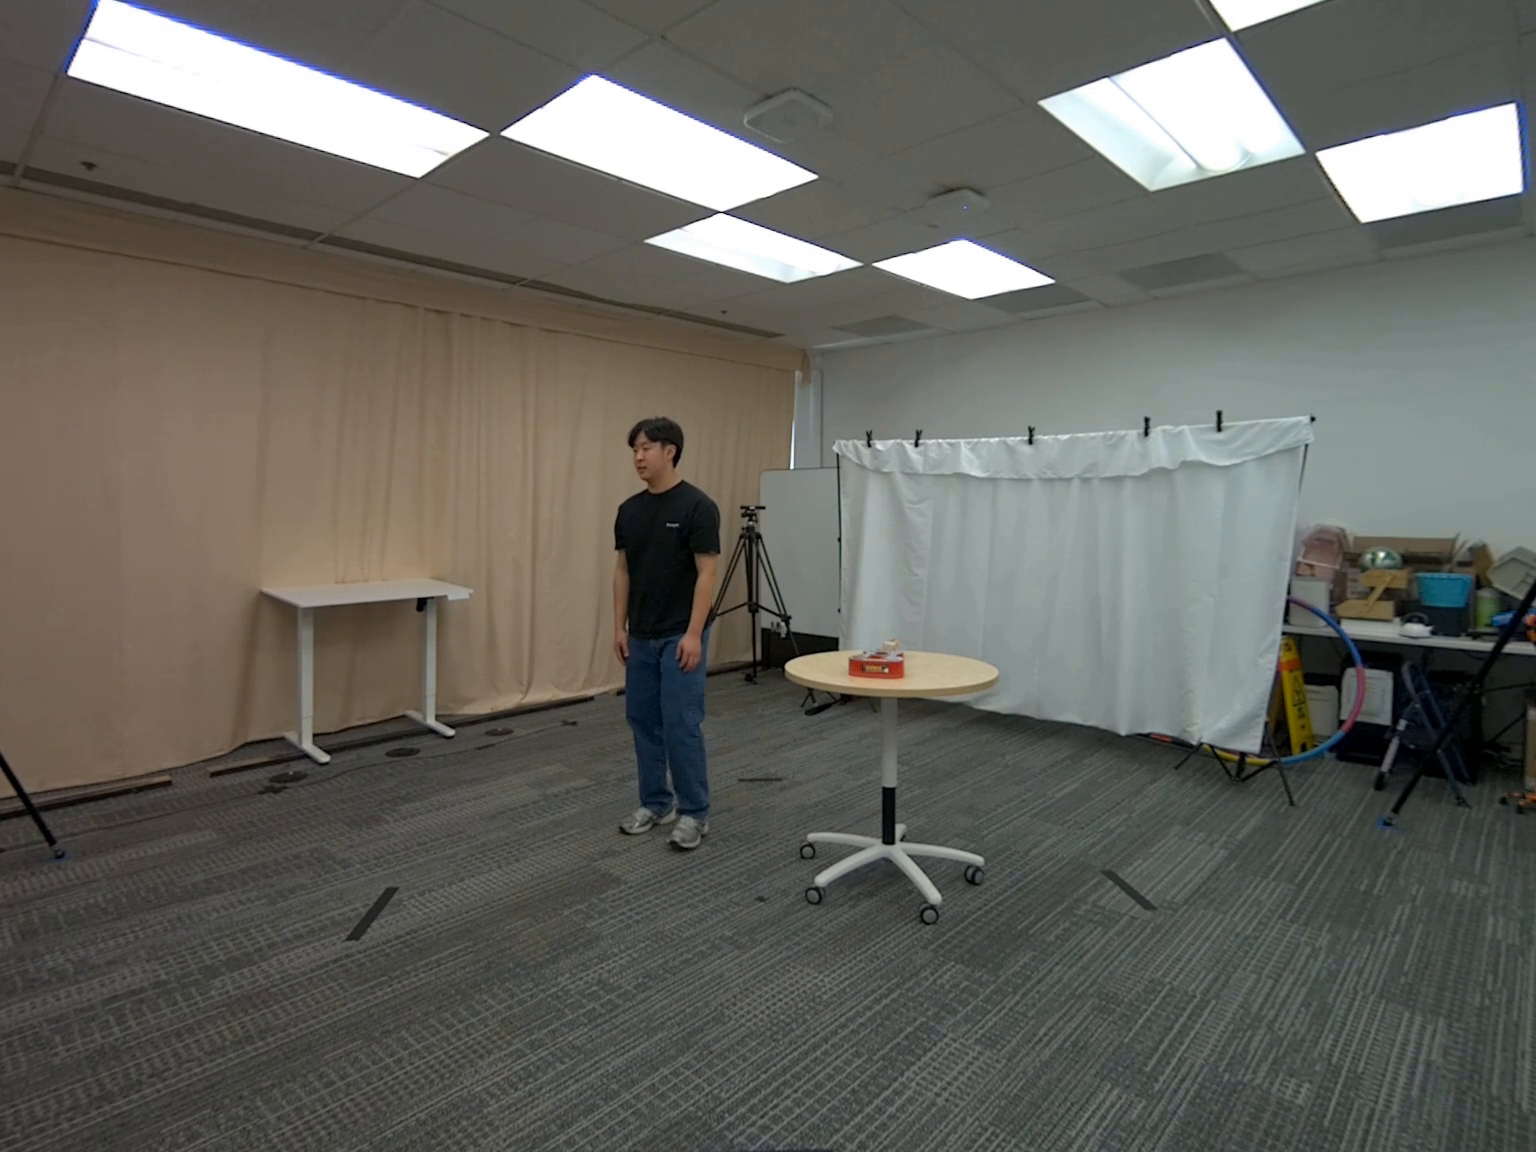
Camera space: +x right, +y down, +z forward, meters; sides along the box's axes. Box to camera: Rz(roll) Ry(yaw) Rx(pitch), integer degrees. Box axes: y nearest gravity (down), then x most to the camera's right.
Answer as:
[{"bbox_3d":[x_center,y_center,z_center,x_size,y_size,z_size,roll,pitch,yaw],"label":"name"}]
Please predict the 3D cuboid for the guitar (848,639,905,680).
[{"bbox_3d":[0.467,0.304,3.110,0.198,0.070,0.486,1,5,27],"label":"guitar"}]
